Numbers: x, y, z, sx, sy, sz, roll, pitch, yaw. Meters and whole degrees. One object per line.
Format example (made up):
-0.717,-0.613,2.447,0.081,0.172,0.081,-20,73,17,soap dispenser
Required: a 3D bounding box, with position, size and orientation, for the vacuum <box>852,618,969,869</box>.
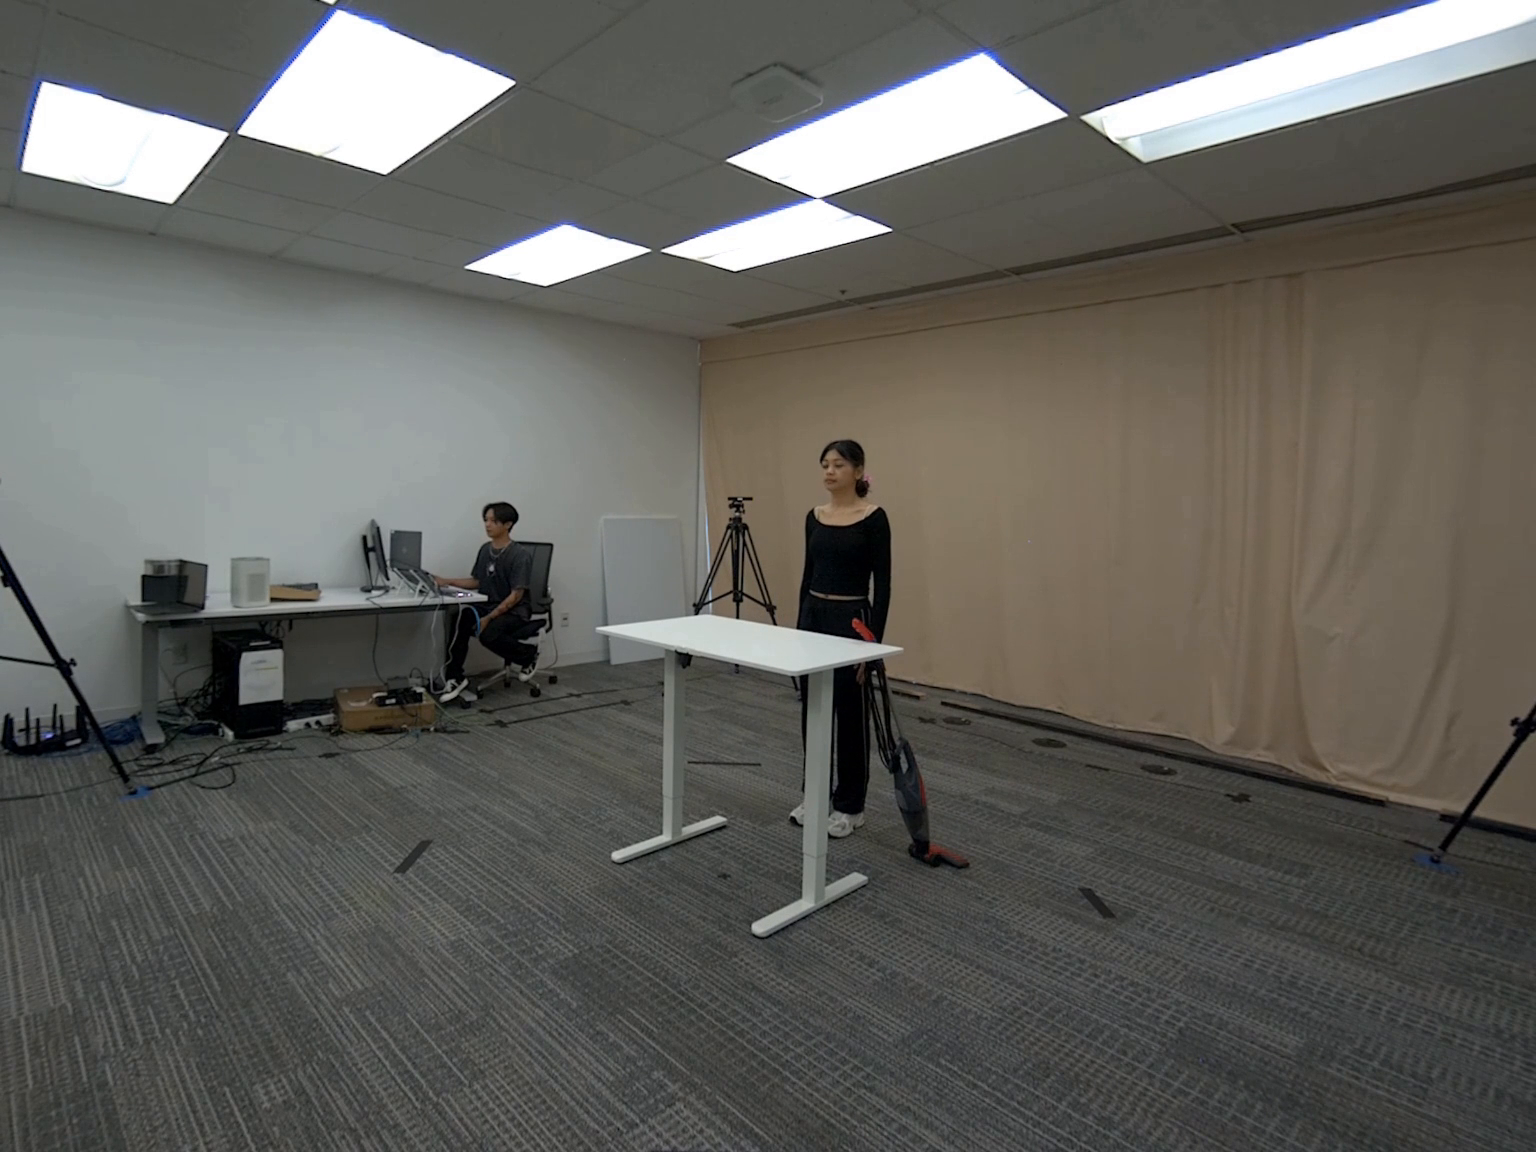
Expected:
0.482,0.642,3.155,0.143,1.032,0.259,-30,21,-29,vacuum
